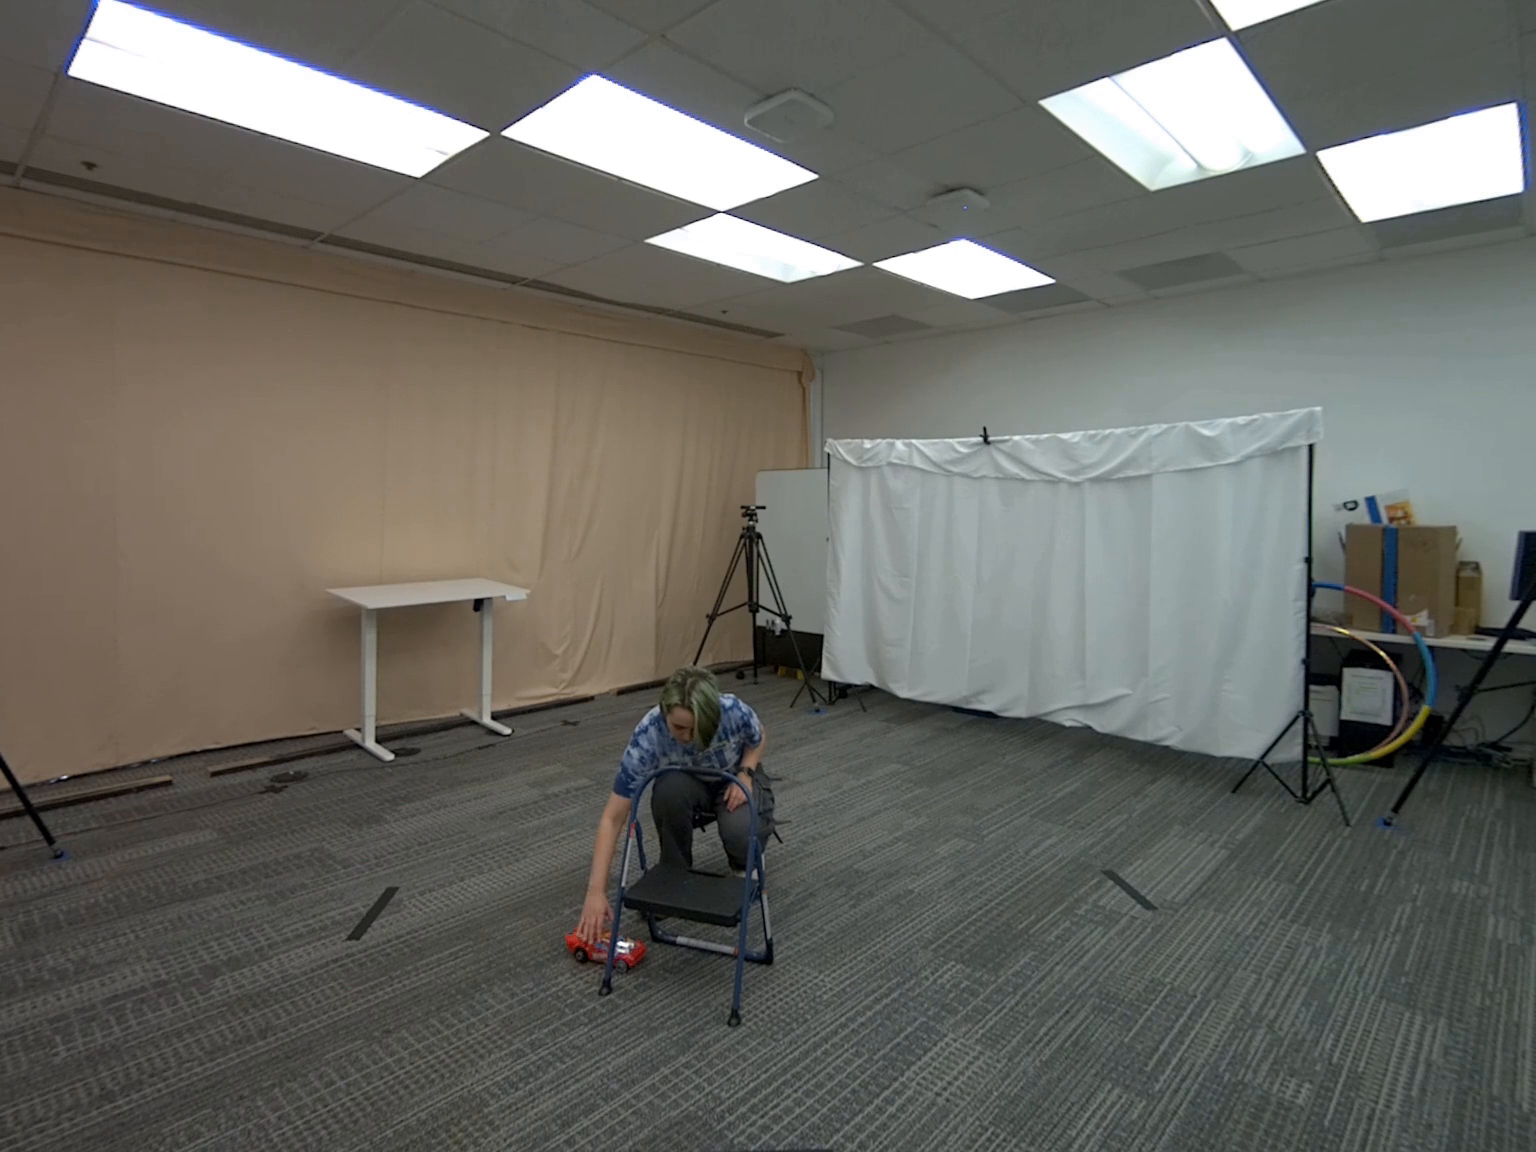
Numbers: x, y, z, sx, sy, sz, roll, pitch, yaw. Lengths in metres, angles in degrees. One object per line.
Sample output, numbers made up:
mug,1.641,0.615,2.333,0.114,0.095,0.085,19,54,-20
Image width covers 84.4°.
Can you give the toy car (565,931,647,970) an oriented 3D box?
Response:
toy car,-0.510,1.149,2.594,0.261,0.083,0.127,14,10,23
